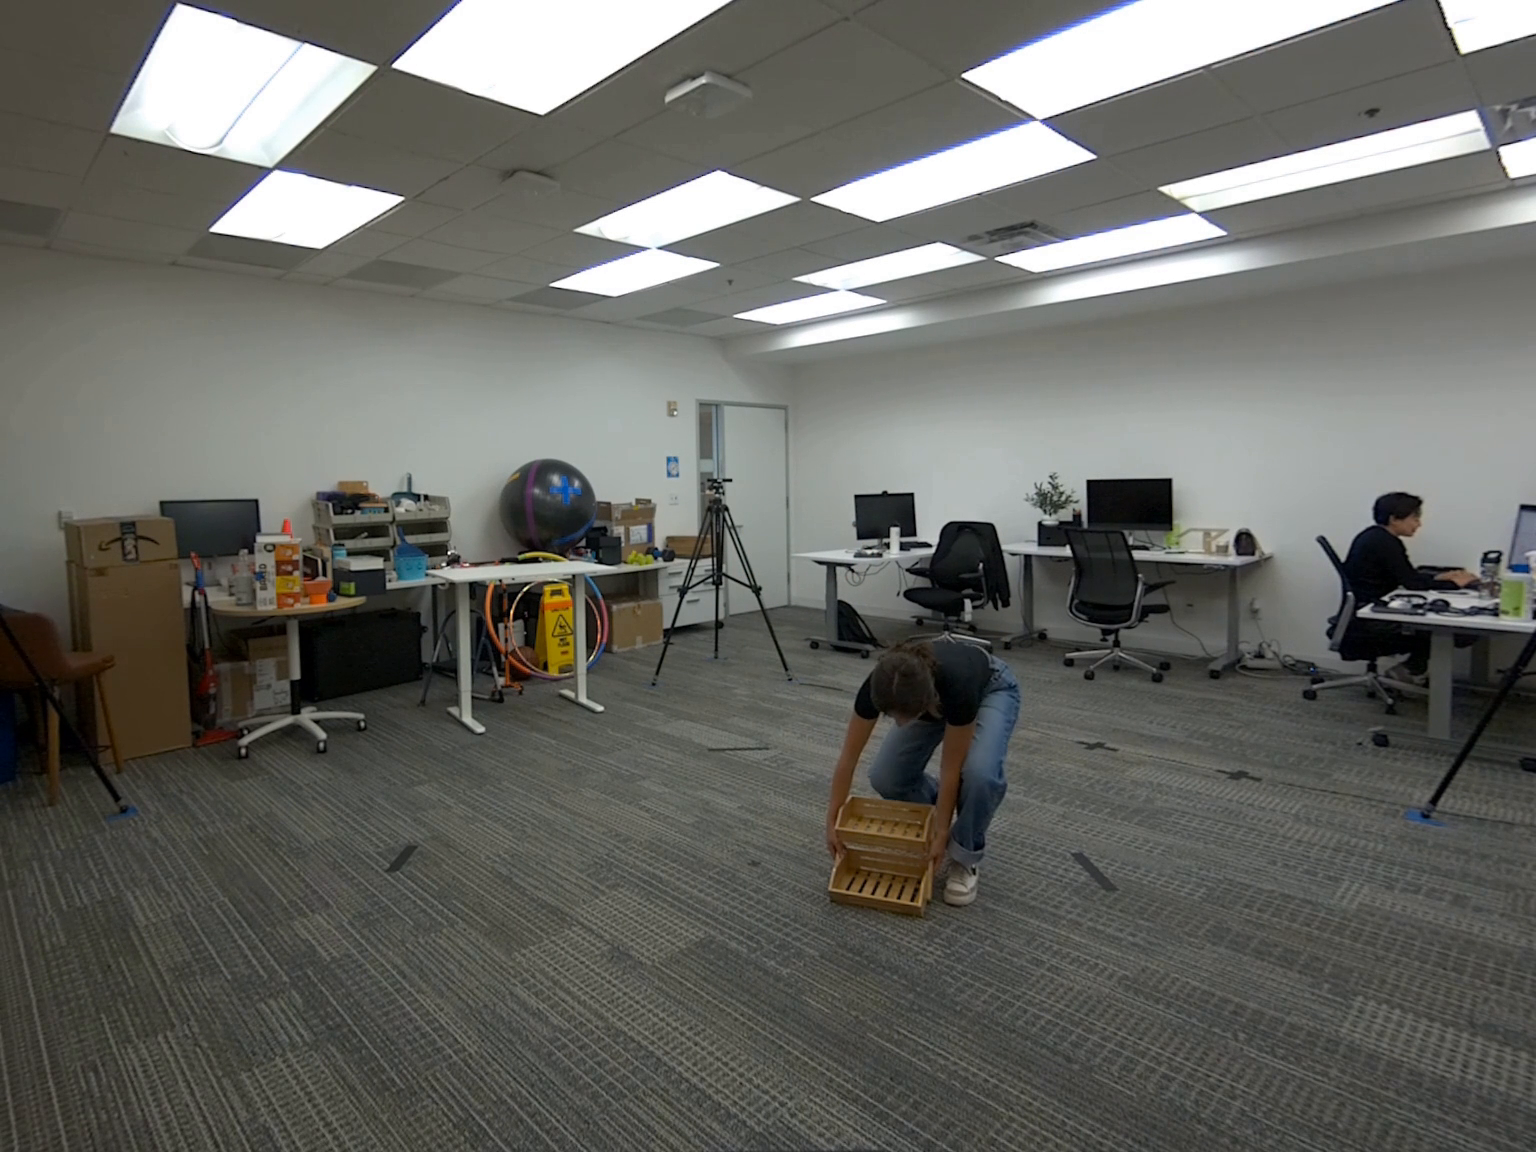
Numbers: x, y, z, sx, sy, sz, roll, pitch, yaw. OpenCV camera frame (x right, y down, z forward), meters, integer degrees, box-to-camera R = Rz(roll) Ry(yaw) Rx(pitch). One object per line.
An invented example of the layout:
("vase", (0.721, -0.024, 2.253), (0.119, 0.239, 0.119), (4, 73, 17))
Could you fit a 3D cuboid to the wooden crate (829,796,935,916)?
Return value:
("wooden crate", (0.392, 0.931, 2.868), (0.331, 0.272, 0.297), (1, 4, 20))
